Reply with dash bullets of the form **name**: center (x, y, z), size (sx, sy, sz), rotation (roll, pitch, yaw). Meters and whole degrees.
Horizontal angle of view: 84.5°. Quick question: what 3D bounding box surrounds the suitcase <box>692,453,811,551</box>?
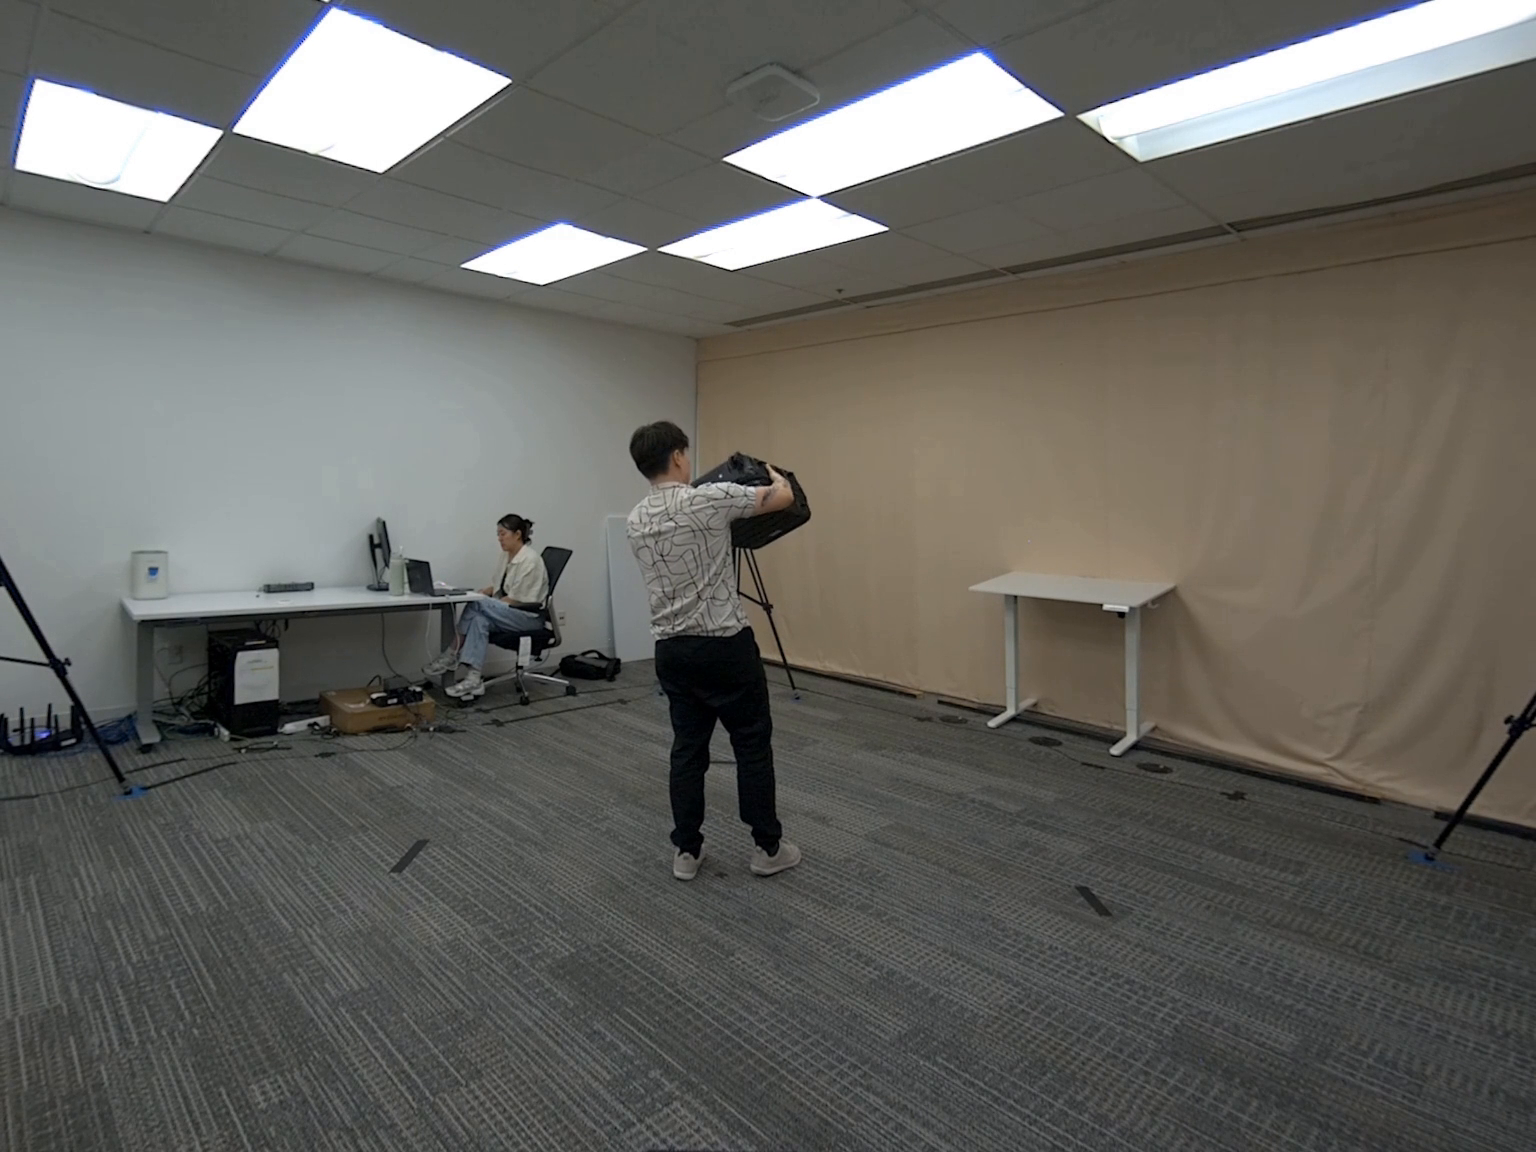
- **suitcase**: center (-0.098, -0.291, 3.500), size (0.378, 0.252, 0.536), rotation (-30, -17, 25)
